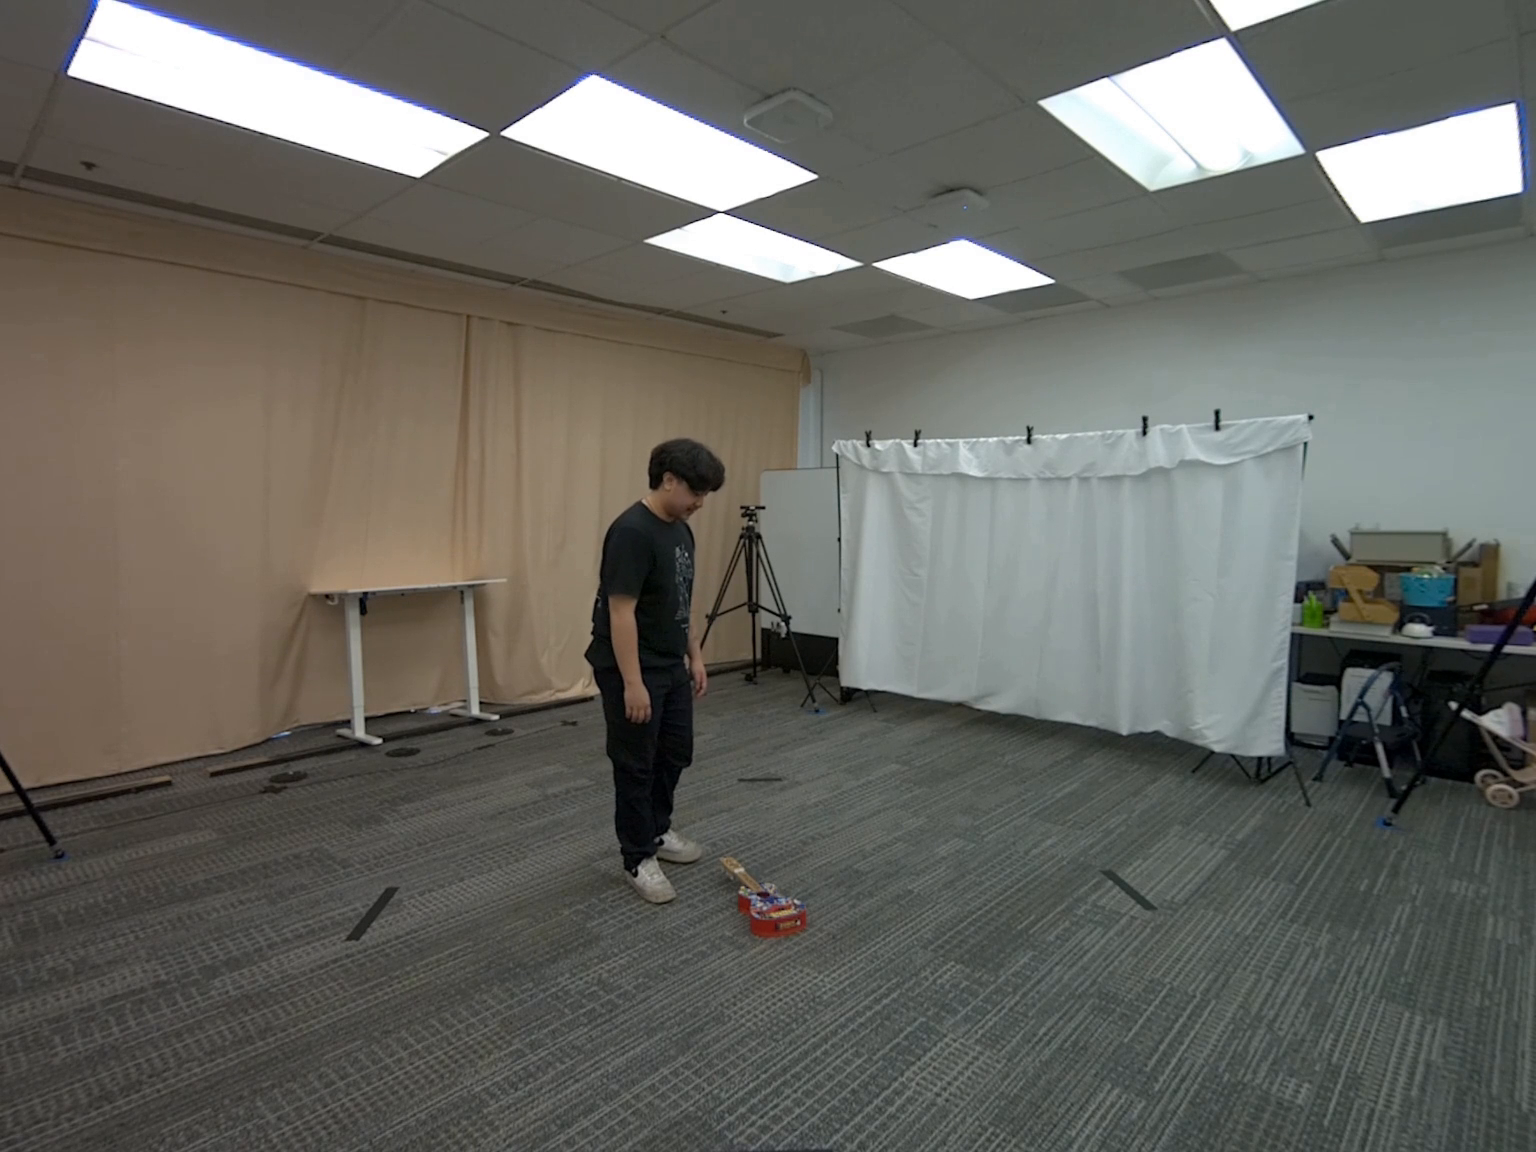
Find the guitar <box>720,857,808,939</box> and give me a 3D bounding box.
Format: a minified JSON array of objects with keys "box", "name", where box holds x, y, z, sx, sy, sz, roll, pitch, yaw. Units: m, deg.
[{"box":[-0.021,1.109,2.963,0.190,0.070,0.508,-2,6,-17],"name":"guitar"}]
